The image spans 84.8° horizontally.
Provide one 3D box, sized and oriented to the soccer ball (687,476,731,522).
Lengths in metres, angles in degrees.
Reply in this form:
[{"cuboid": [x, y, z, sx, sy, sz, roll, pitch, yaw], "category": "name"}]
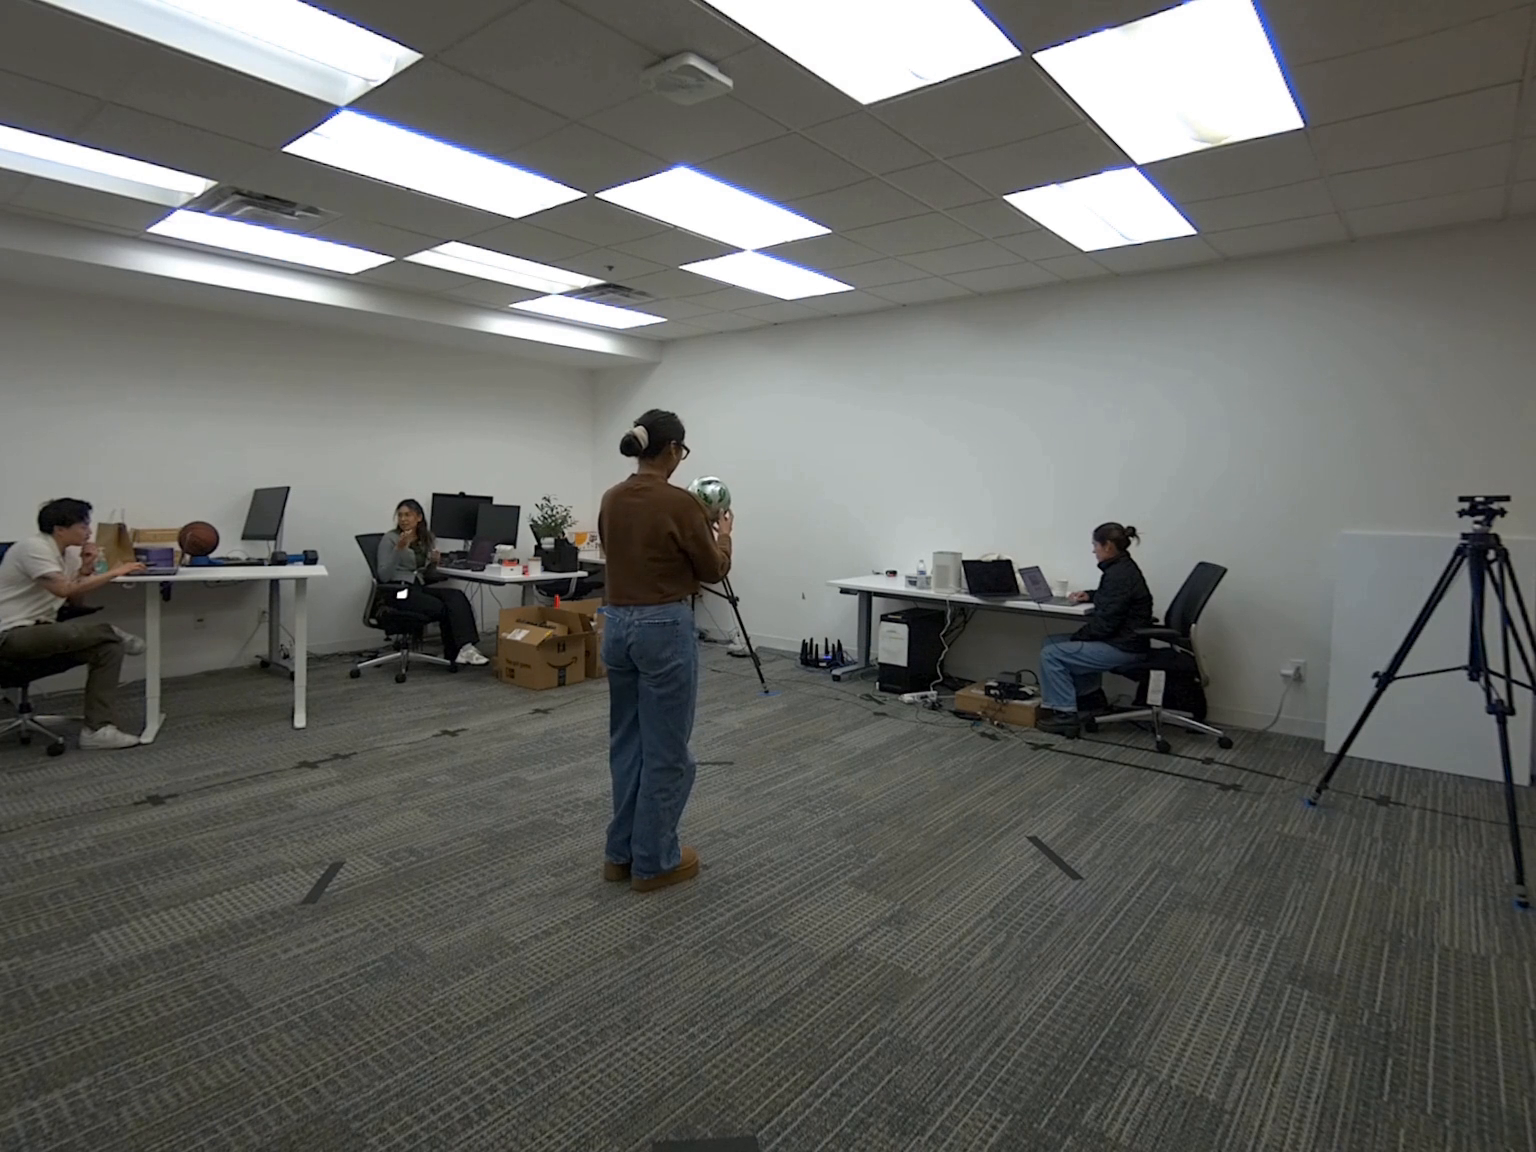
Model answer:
[{"cuboid": [-0.244, -0.300, 3.339, 0.187, 0.187, 0.188, 1, 4, -2], "category": "soccer ball"}]
